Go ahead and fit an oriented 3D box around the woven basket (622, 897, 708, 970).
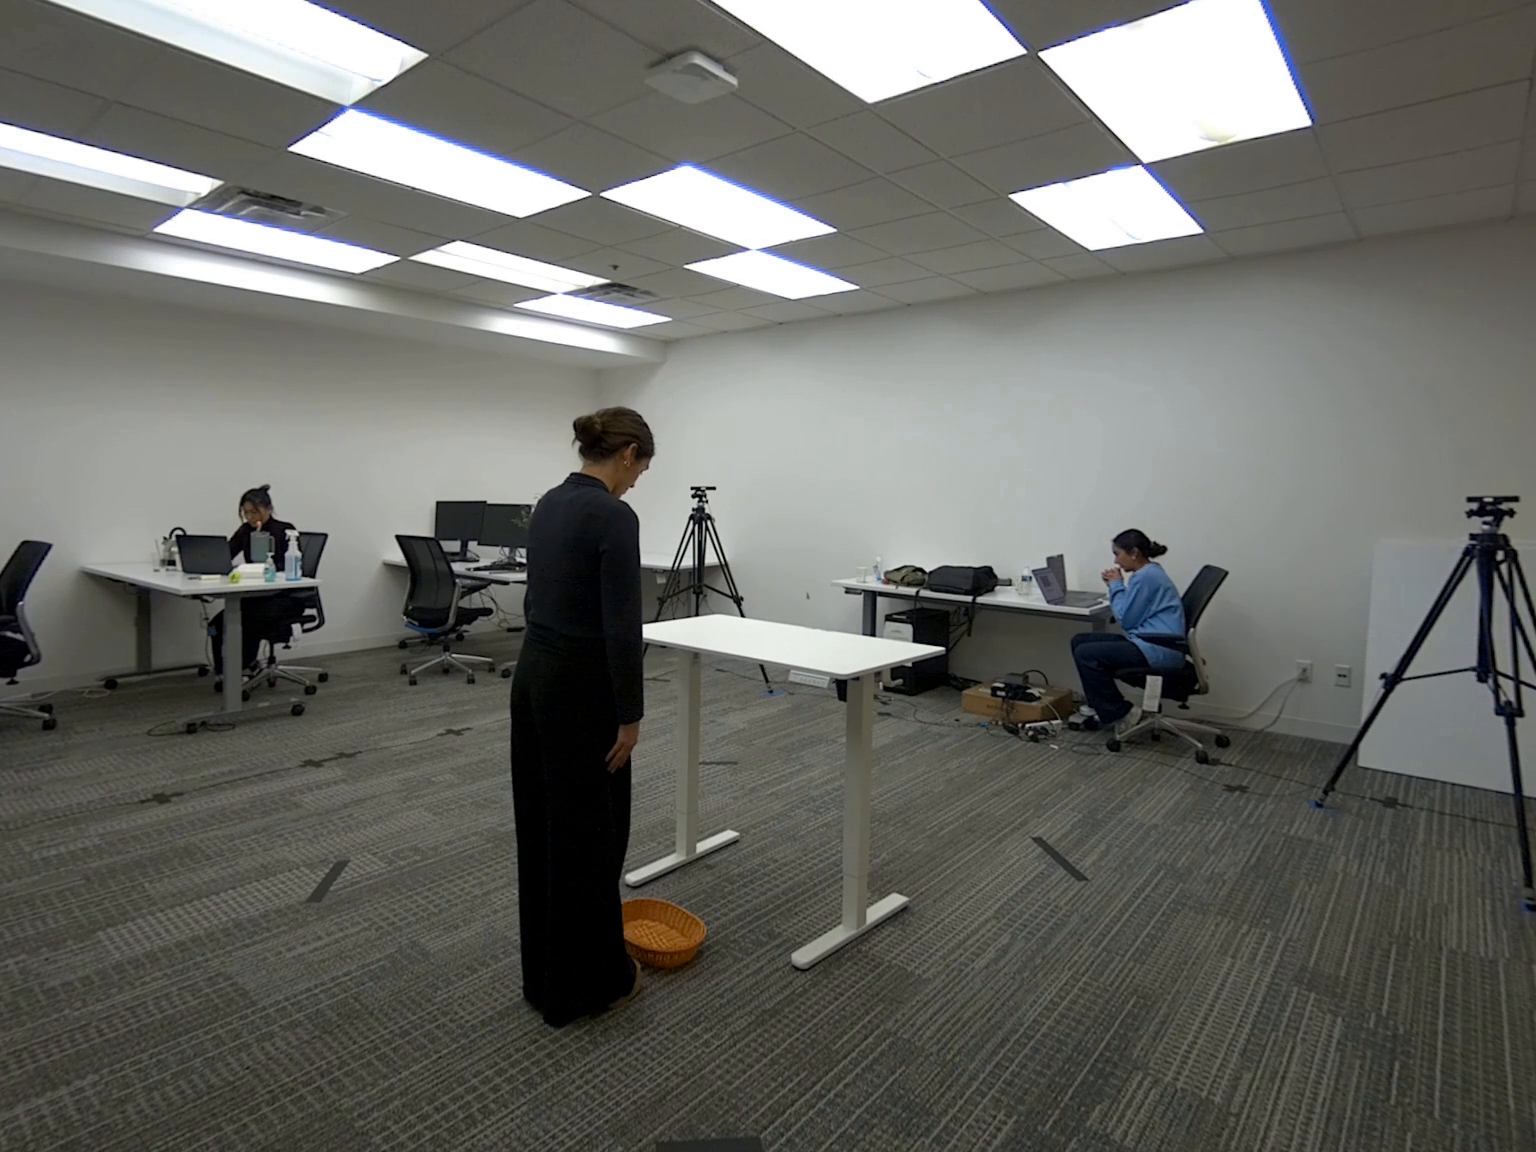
[{"bbox_3d":[-0.346,1.071,2.572,0.245,0.073,0.363,-3,7,-44],"label":"woven basket"}]
